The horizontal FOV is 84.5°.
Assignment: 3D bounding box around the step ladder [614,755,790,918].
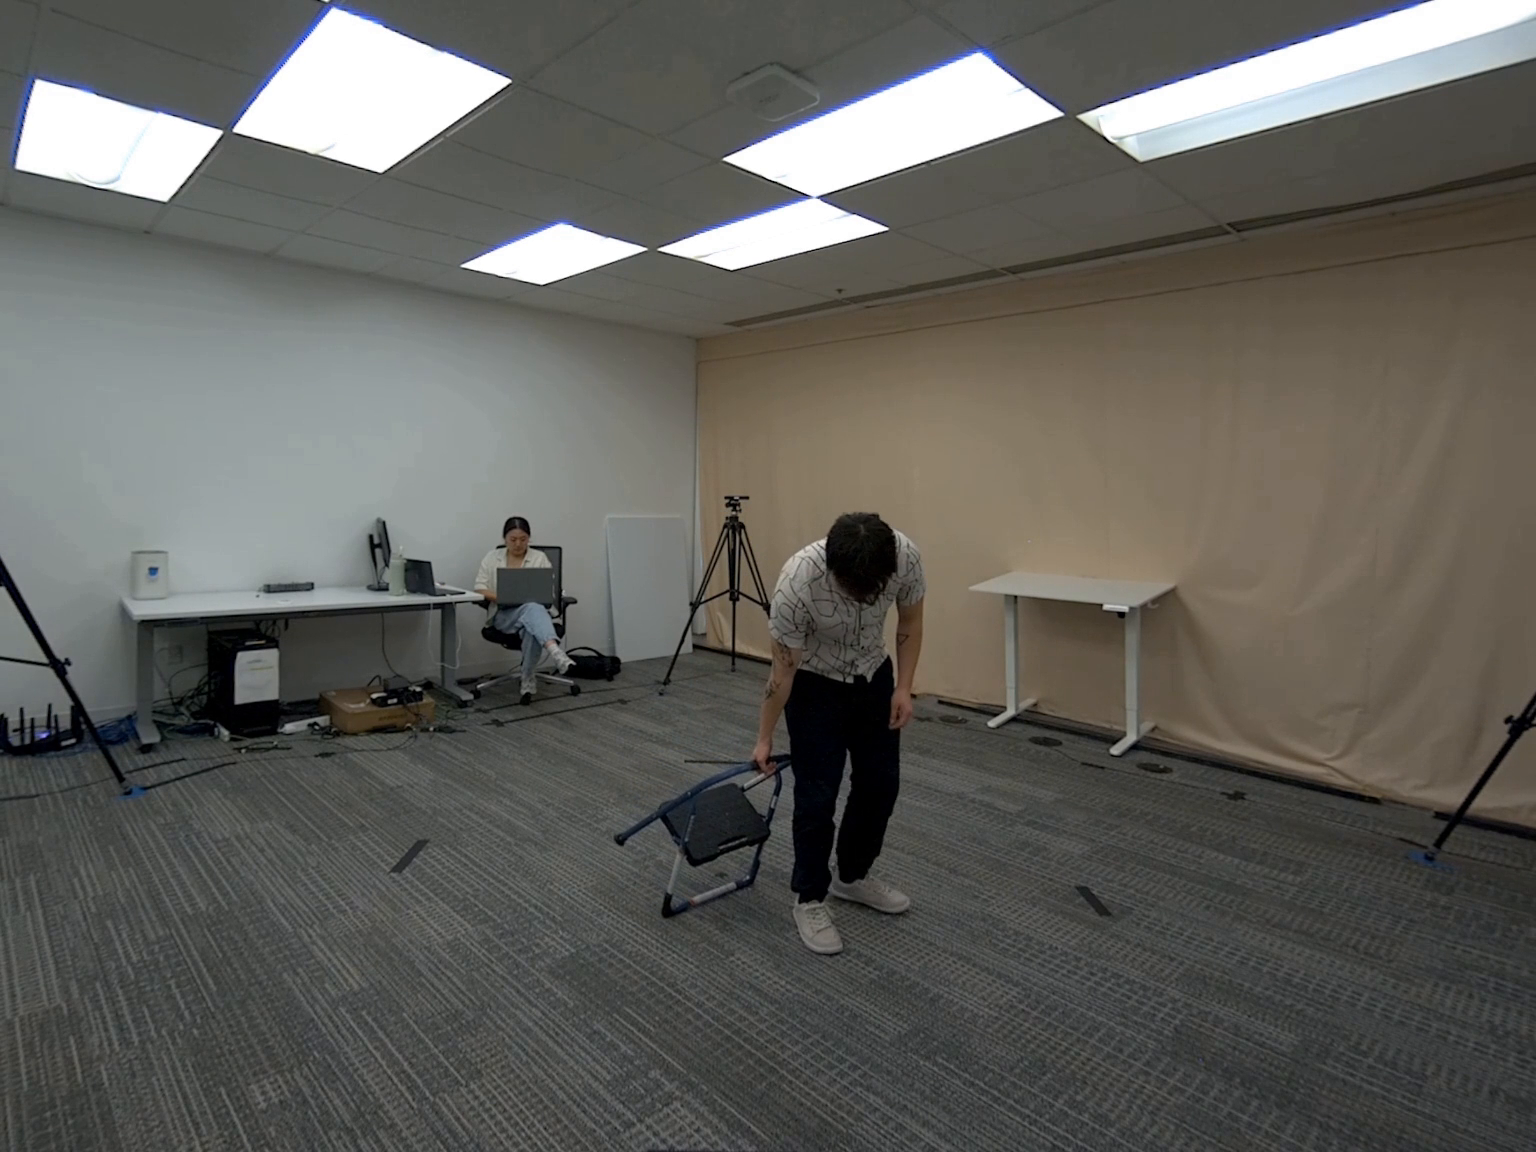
[{"bbox_3d":[-0.178,0.784,2.872,0.421,0.601,0.360,-4,41,-44],"label":"step ladder"}]
